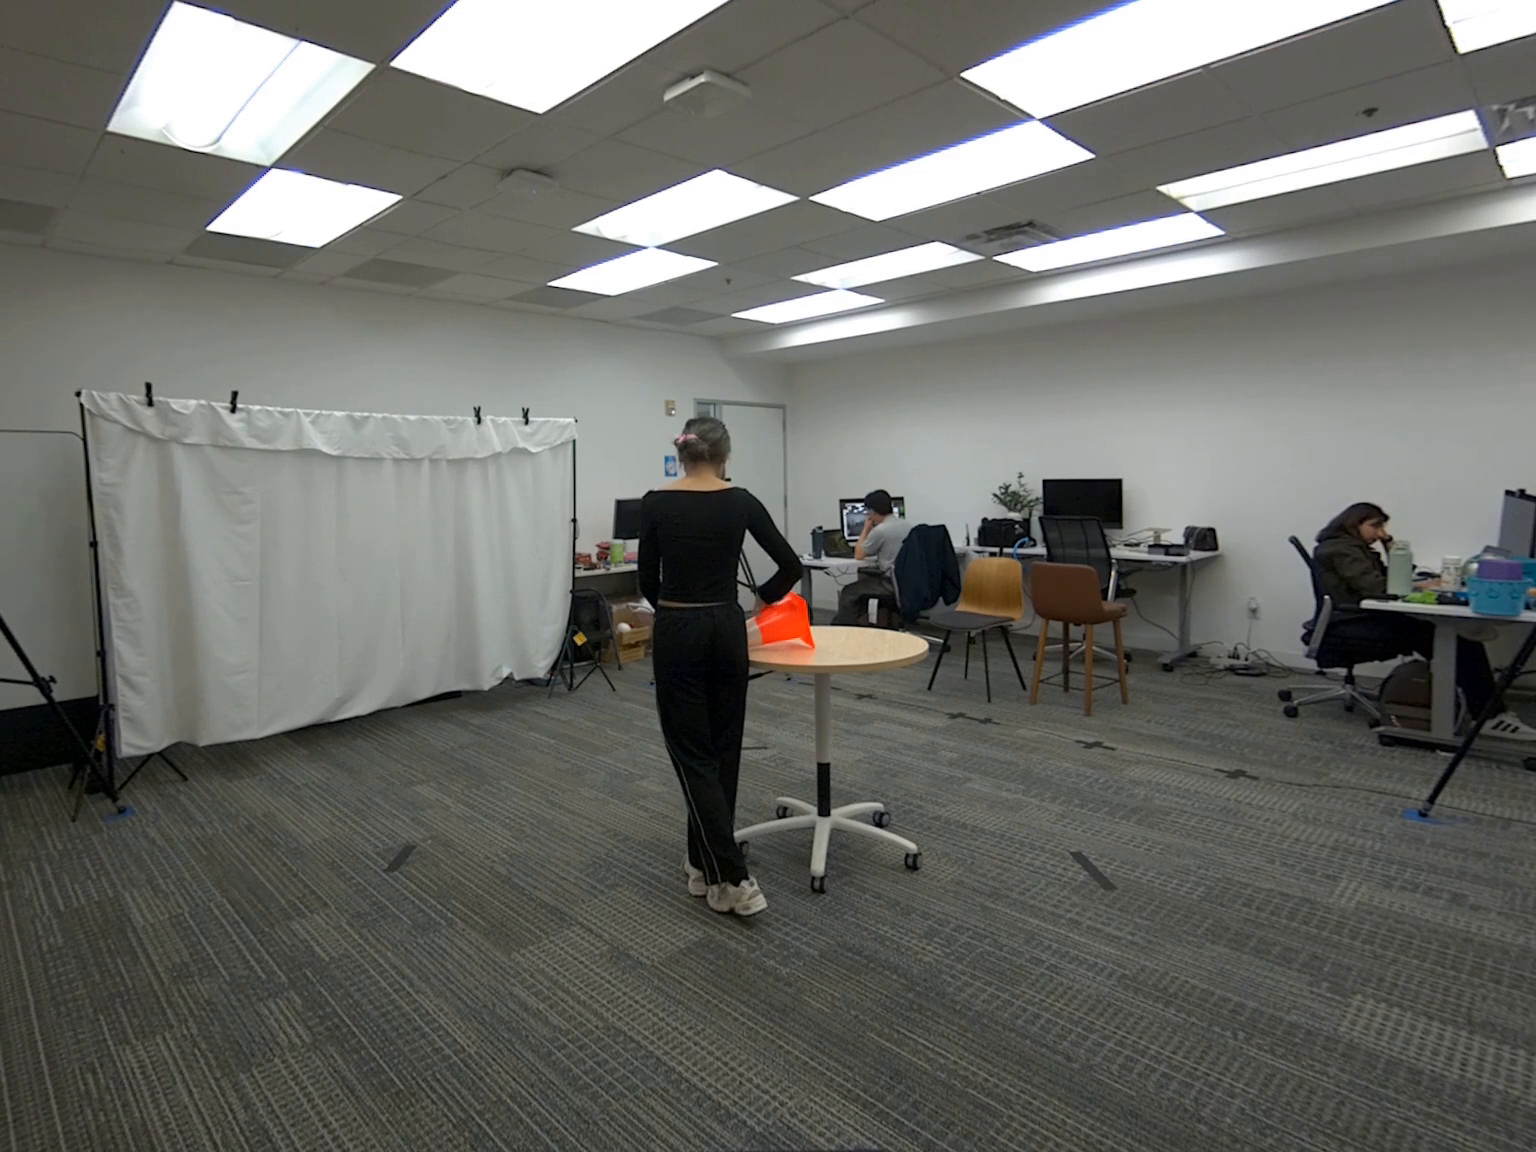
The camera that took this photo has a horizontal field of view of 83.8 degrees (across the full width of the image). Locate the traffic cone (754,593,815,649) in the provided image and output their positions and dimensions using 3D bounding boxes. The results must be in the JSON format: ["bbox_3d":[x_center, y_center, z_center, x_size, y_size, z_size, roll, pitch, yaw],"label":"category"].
[{"bbox_3d":[-0.058,0.206,3.053,0.380,0.199,0.211,-18,22,-14],"label":"traffic cone"}]
